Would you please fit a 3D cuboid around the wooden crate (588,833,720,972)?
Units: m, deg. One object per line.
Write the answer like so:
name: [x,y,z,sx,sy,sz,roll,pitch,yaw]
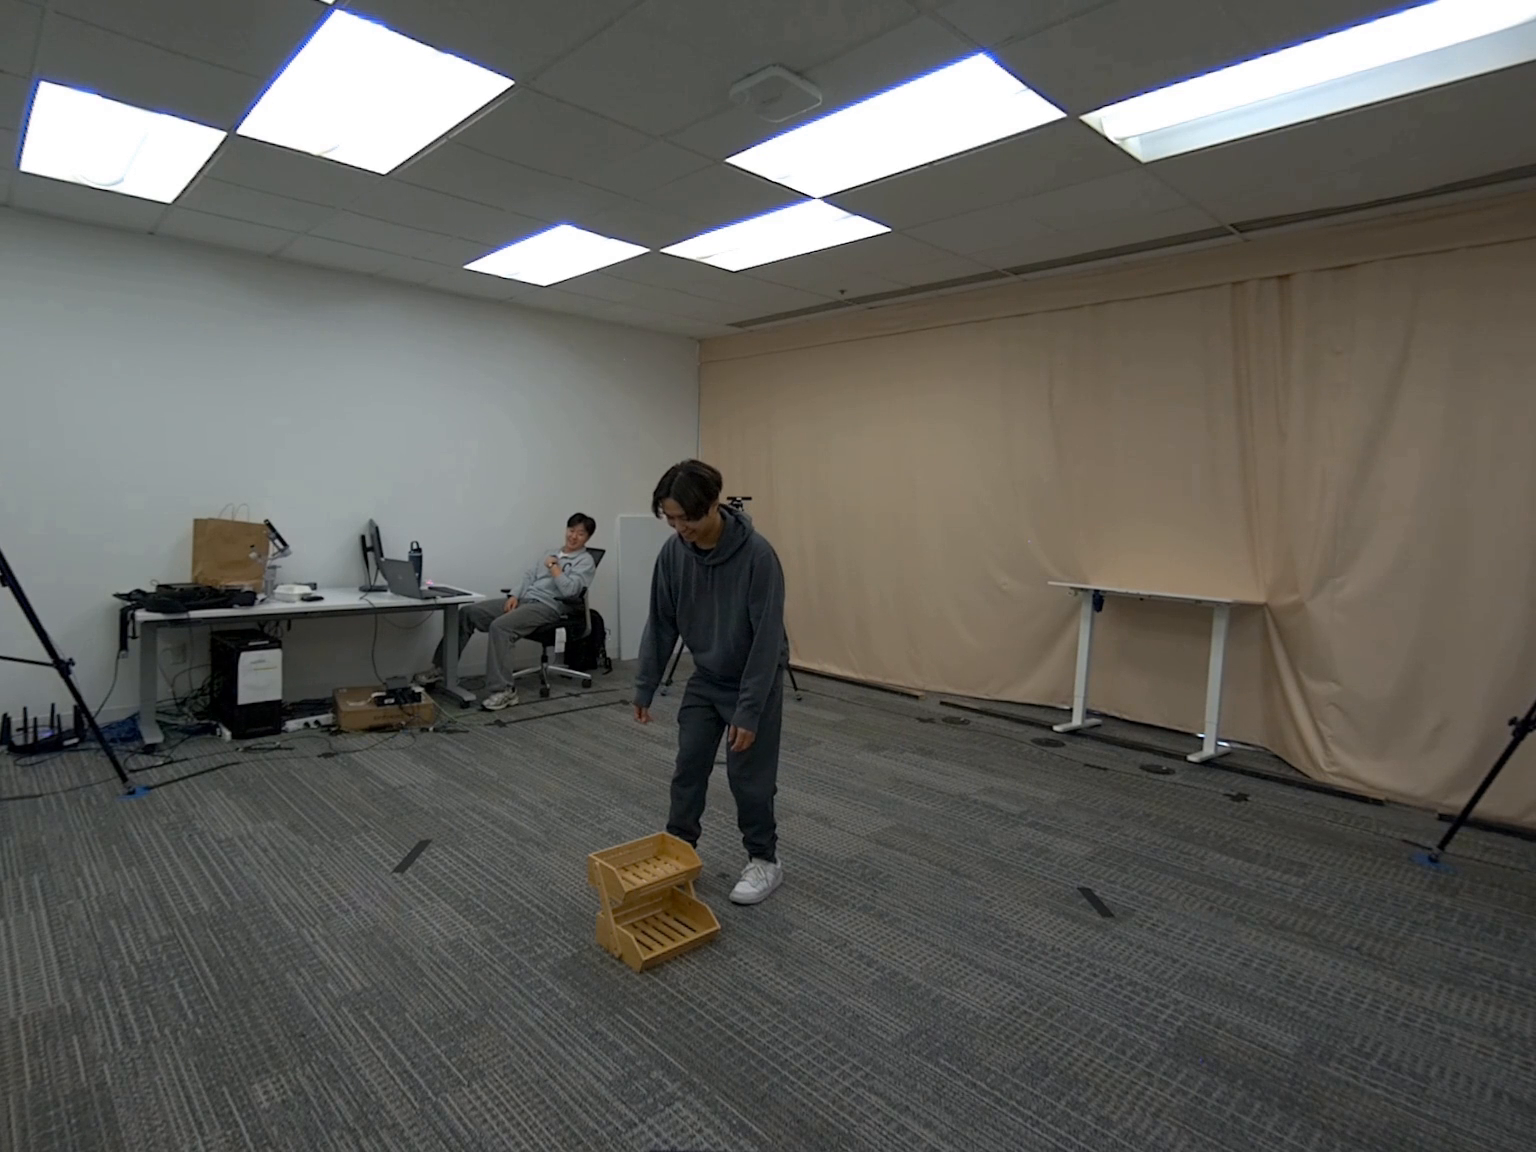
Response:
wooden crate: [-0.363,1.013,2.642,0.317,0.273,0.309,-2,4,-44]
